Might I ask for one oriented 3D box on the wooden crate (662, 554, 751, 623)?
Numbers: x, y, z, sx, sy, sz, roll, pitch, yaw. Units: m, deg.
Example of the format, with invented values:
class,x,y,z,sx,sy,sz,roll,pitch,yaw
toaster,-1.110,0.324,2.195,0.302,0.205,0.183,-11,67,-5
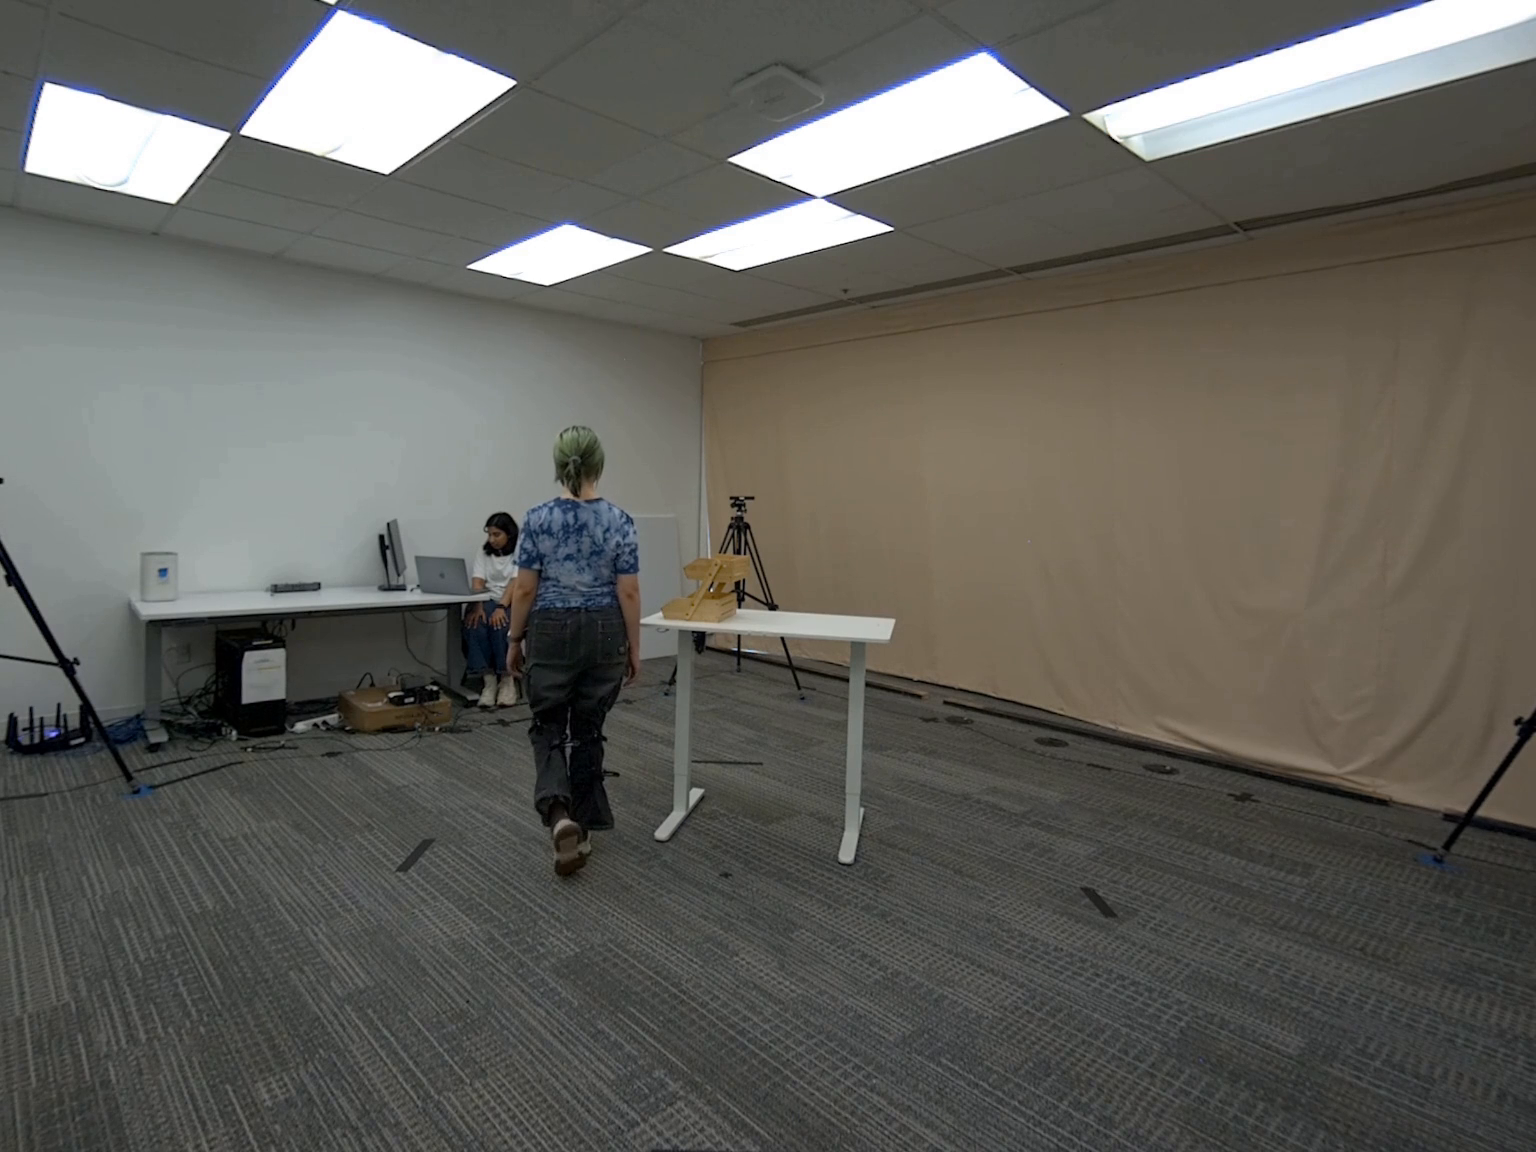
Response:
class,x,y,z,sx,sy,sz,roll,pitch,yaw
wooden crate,-0.279,0.040,3.587,0.305,0.272,0.322,4,5,13
